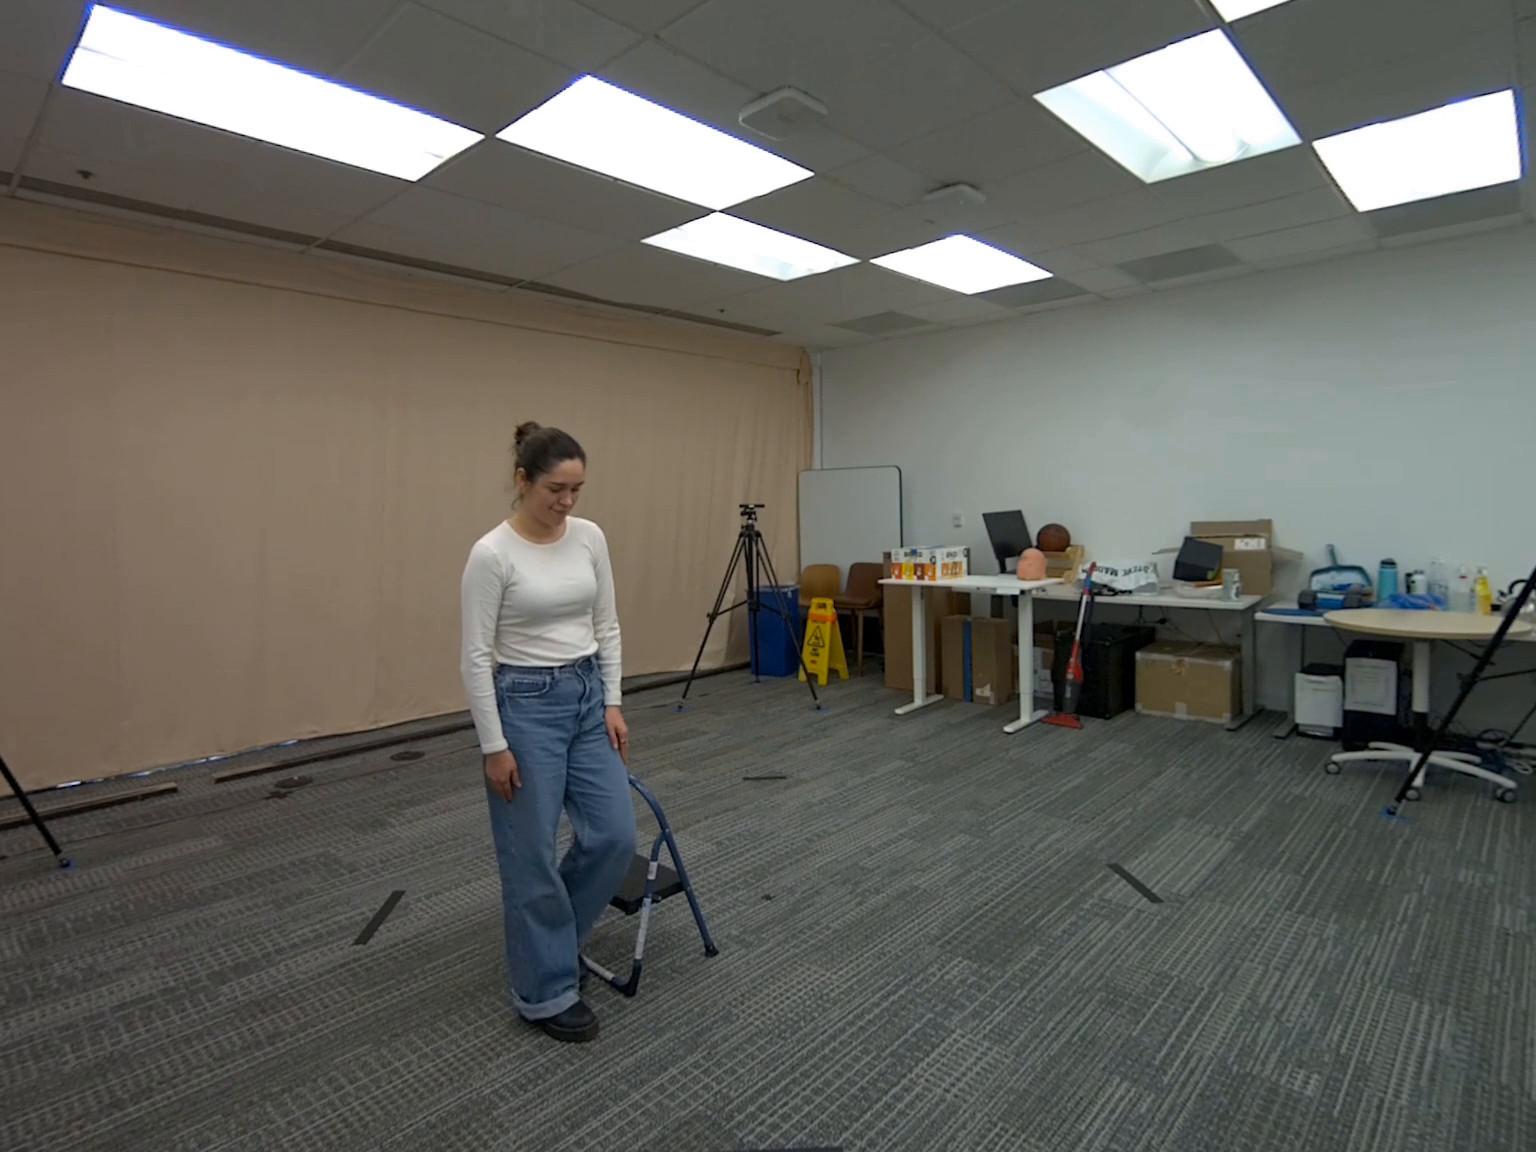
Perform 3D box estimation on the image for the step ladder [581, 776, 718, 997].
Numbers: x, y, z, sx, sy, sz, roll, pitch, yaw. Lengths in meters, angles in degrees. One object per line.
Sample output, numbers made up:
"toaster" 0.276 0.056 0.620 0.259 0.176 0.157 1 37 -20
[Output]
"step ladder" -0.428 0.880 2.634 0.445 0.605 0.338 2 4 44
